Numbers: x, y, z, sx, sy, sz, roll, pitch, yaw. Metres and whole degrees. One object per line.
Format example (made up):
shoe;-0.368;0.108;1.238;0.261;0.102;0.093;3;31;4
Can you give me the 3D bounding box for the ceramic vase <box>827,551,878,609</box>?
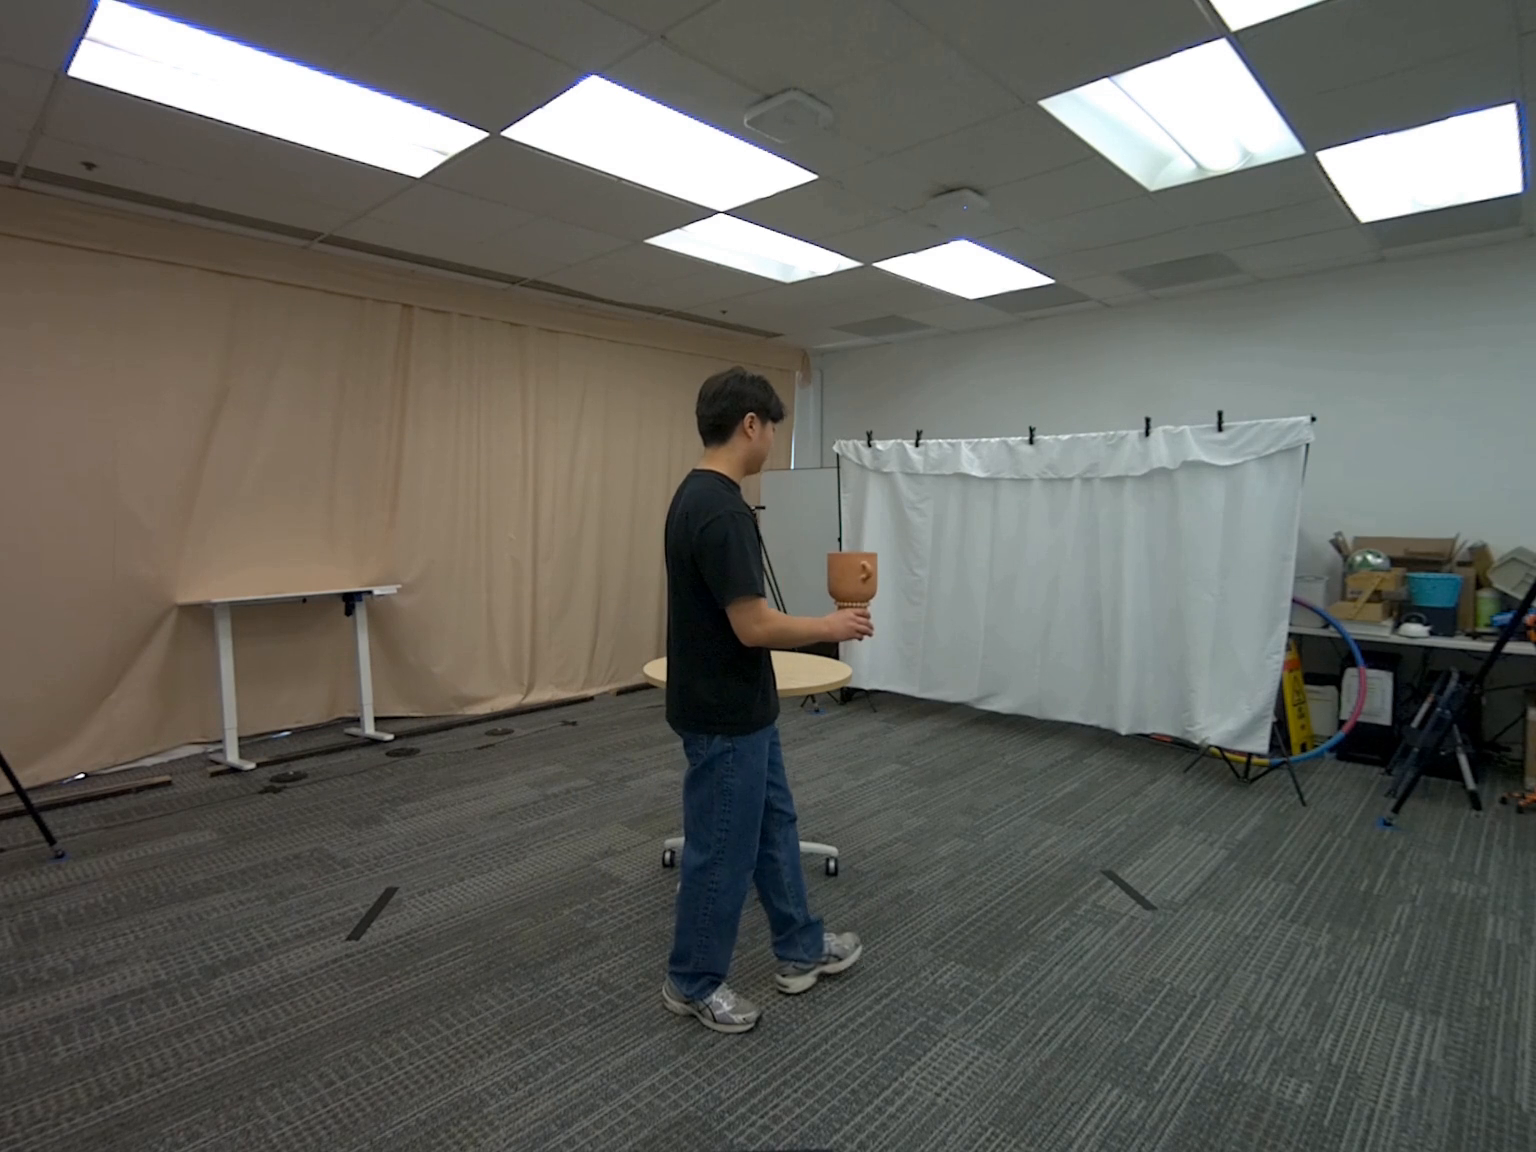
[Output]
ceramic vase;0.229;0.048;2.242;0.137;0.219;0.155;0;2;20
